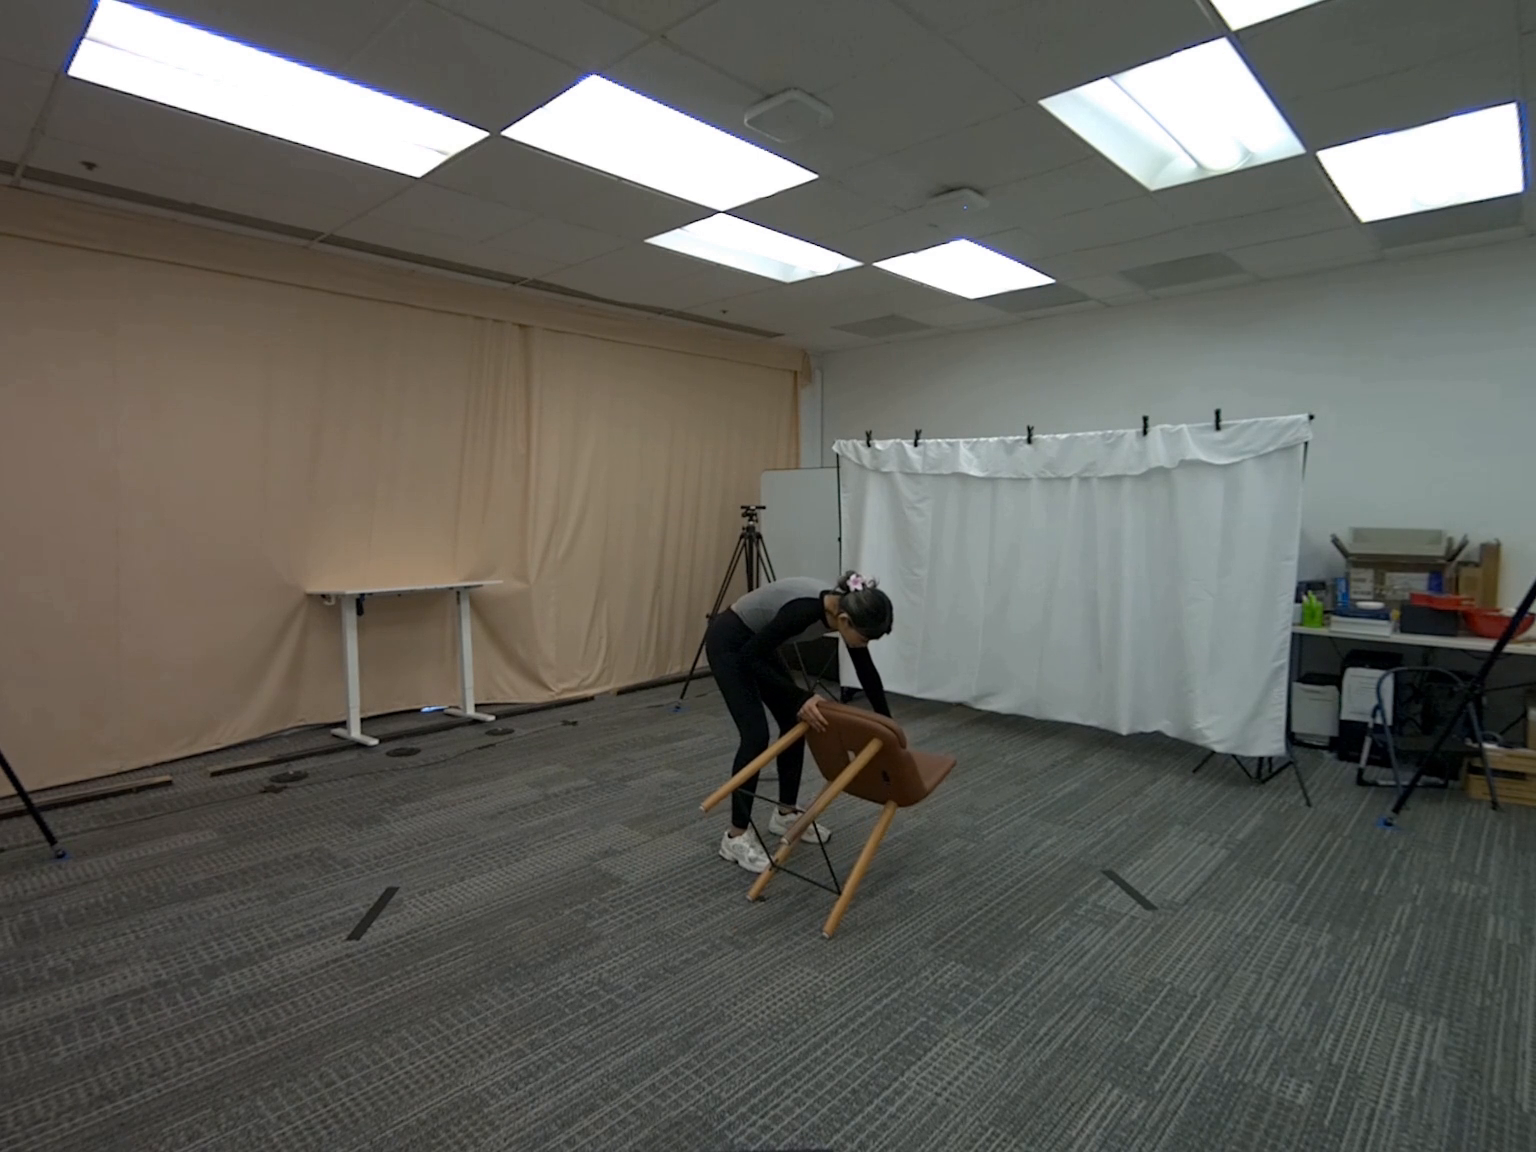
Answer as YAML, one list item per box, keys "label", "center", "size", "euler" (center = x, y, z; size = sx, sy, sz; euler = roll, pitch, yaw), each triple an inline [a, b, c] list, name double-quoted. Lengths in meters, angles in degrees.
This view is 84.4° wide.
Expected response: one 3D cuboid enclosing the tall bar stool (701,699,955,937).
- label: "tall bar stool"
  center: [0.267, 0.740, 2.999]
  size: [0.472, 0.458, 0.878]
  euler: [3, 34, 46]
